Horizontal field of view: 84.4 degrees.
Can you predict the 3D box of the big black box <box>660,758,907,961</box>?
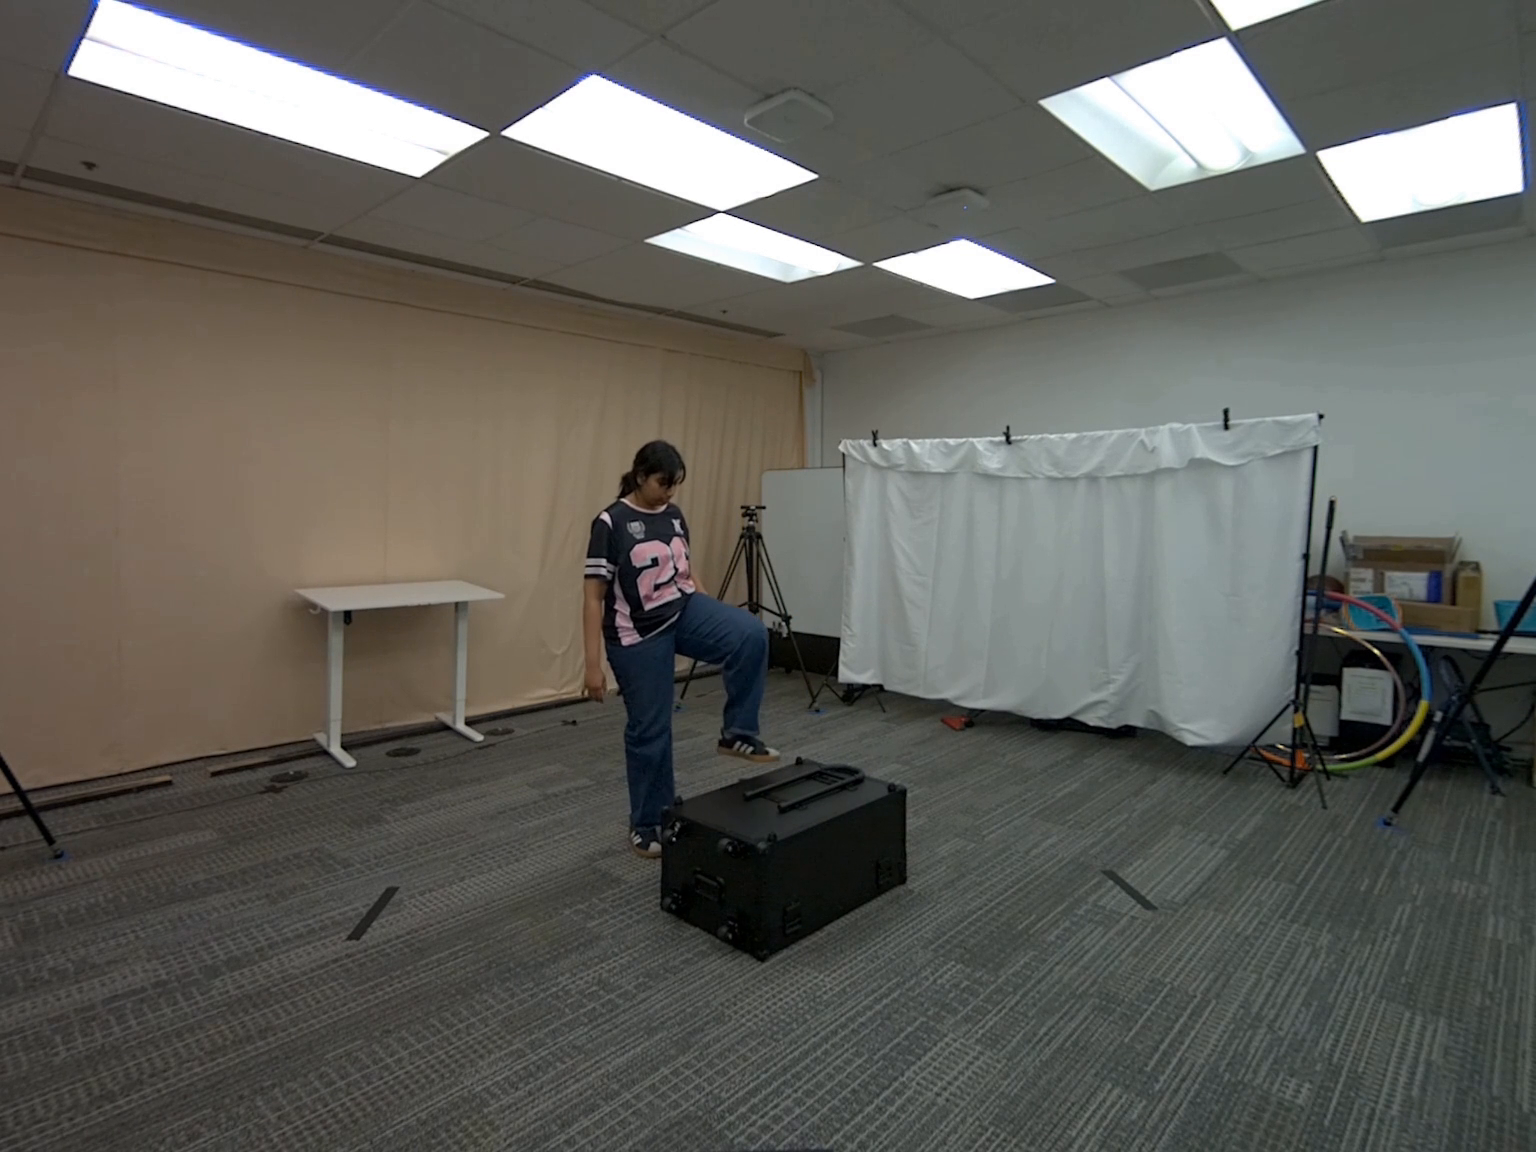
[{"bbox_3d":[0.055,0.960,2.964,0.541,0.384,0.842,5,7,44],"label":"big black box"}]
